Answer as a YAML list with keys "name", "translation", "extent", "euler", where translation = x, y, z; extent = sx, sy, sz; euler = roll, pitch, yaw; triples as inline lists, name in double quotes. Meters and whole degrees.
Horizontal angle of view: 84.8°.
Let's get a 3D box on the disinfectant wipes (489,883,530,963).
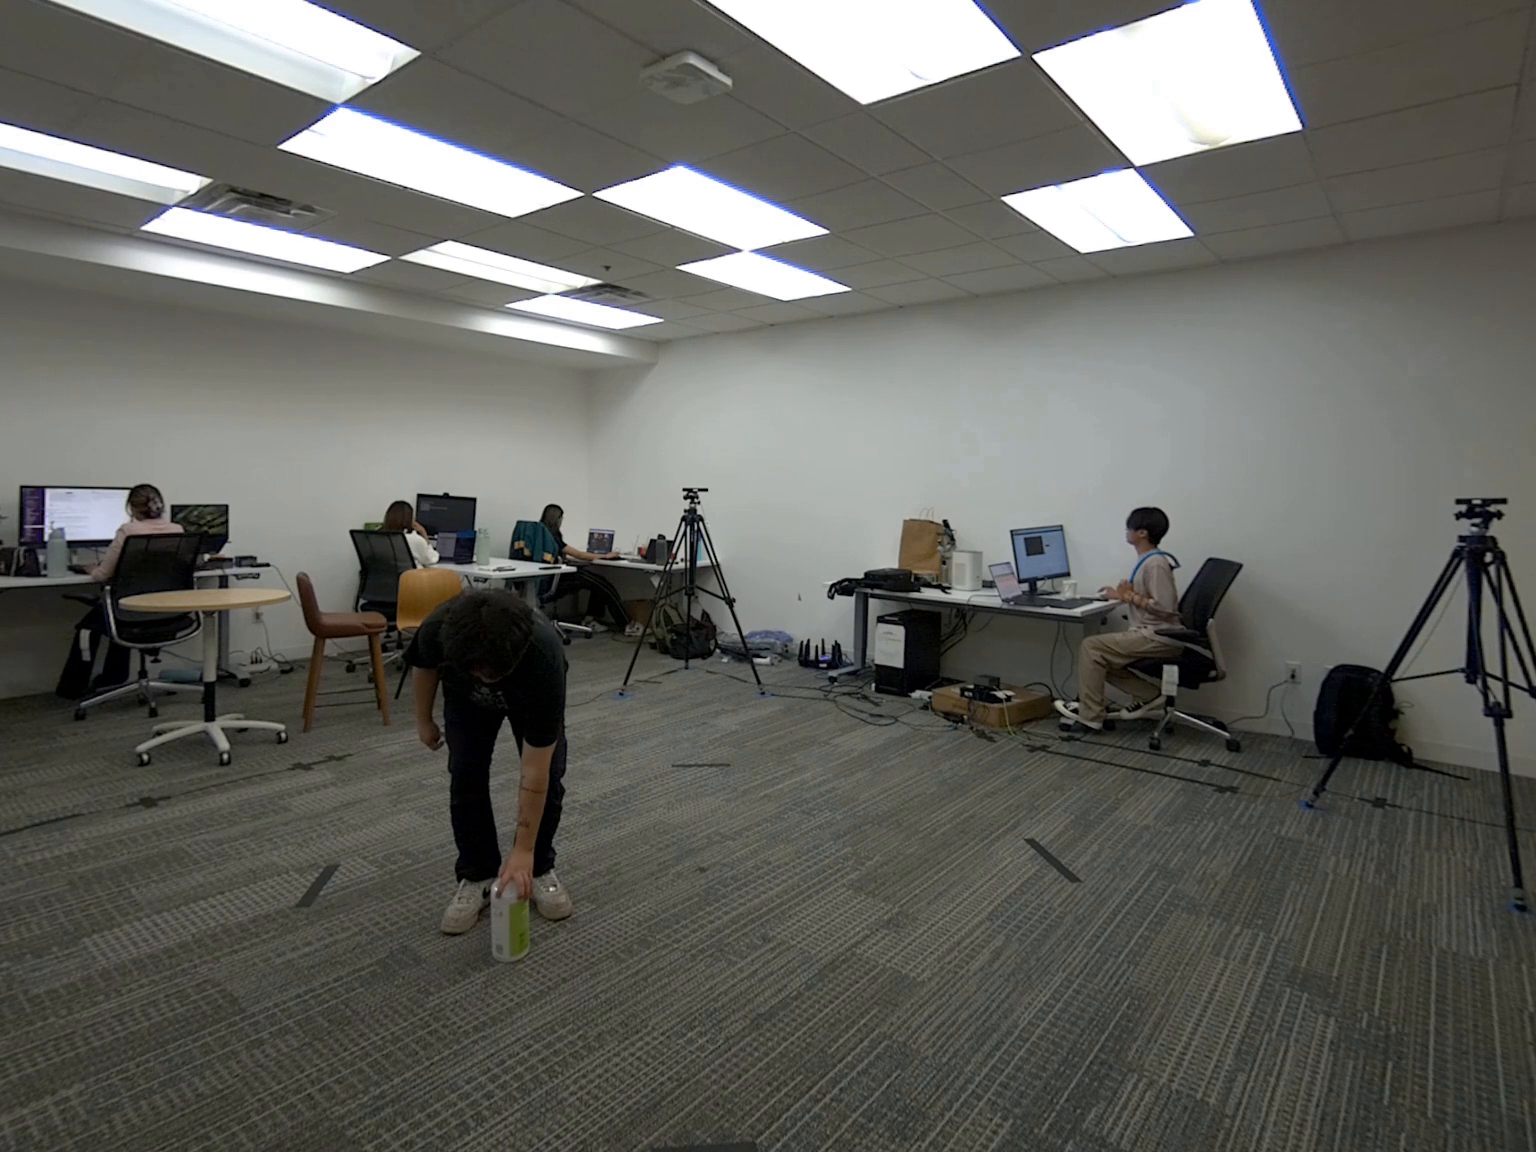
- name: "disinfectant wipes"
  translation: [-0.775, 1.015, 2.517]
  extent: [0.118, 0.216, 0.119]
  euler: [0, 9, -2]
